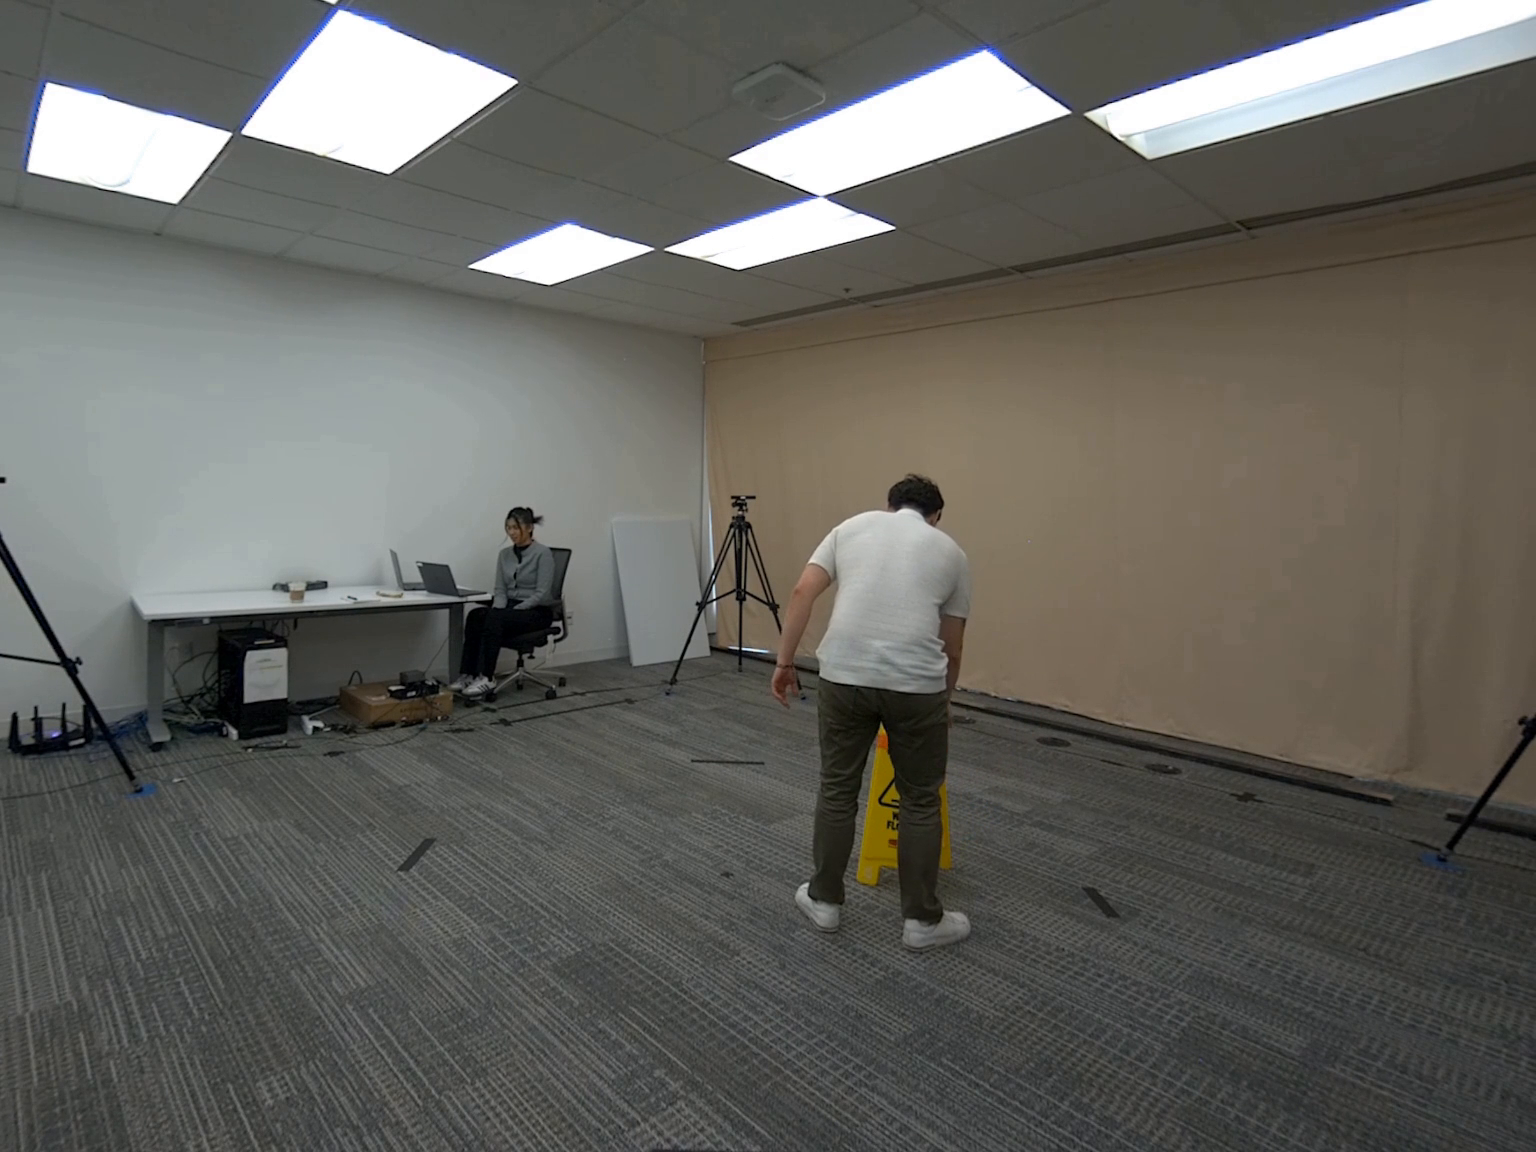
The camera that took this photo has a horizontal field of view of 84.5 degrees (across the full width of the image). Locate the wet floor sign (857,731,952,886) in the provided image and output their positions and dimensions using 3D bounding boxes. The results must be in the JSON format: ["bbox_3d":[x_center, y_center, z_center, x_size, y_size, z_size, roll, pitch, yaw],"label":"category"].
[{"bbox_3d":[0.516,0.794,3.124,0.288,0.645,0.284,4,3,25],"label":"wet floor sign"}]
